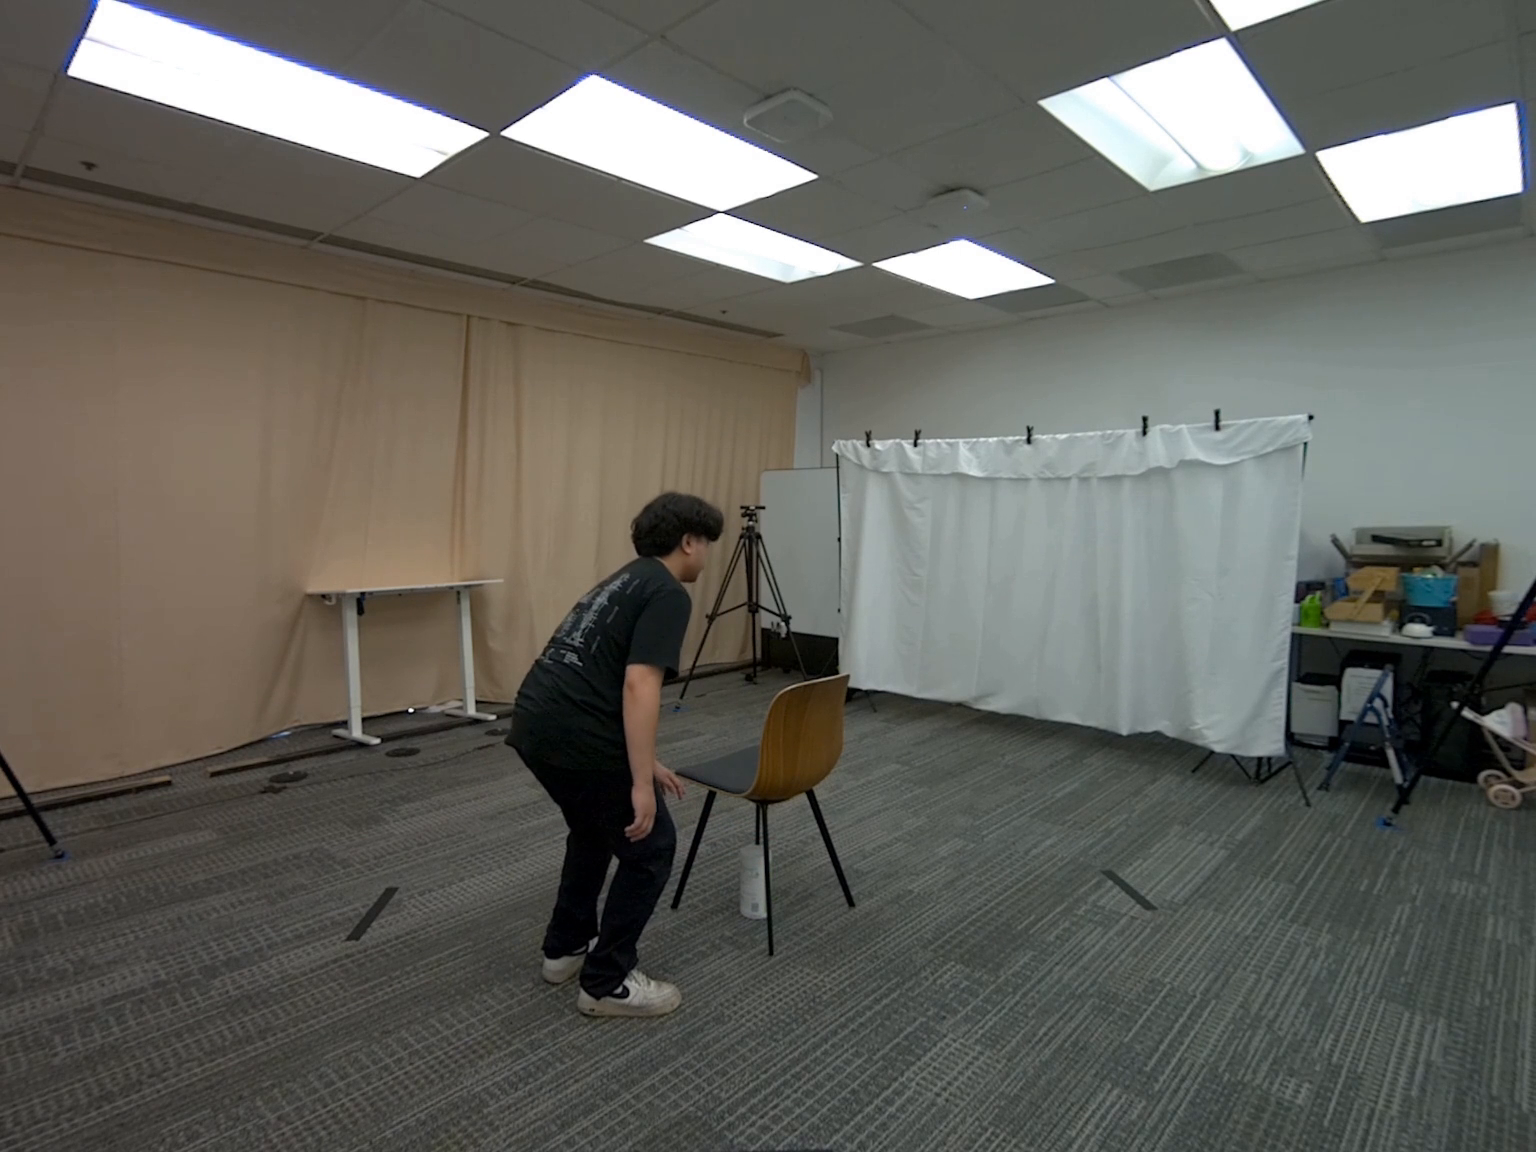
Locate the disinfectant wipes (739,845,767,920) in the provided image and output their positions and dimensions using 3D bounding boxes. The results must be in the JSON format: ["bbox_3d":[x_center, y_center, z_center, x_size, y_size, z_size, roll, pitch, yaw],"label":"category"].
[{"bbox_3d":[-0.029,1.062,2.868,0.117,0.217,0.118,2,4,-2],"label":"disinfectant wipes"}]
